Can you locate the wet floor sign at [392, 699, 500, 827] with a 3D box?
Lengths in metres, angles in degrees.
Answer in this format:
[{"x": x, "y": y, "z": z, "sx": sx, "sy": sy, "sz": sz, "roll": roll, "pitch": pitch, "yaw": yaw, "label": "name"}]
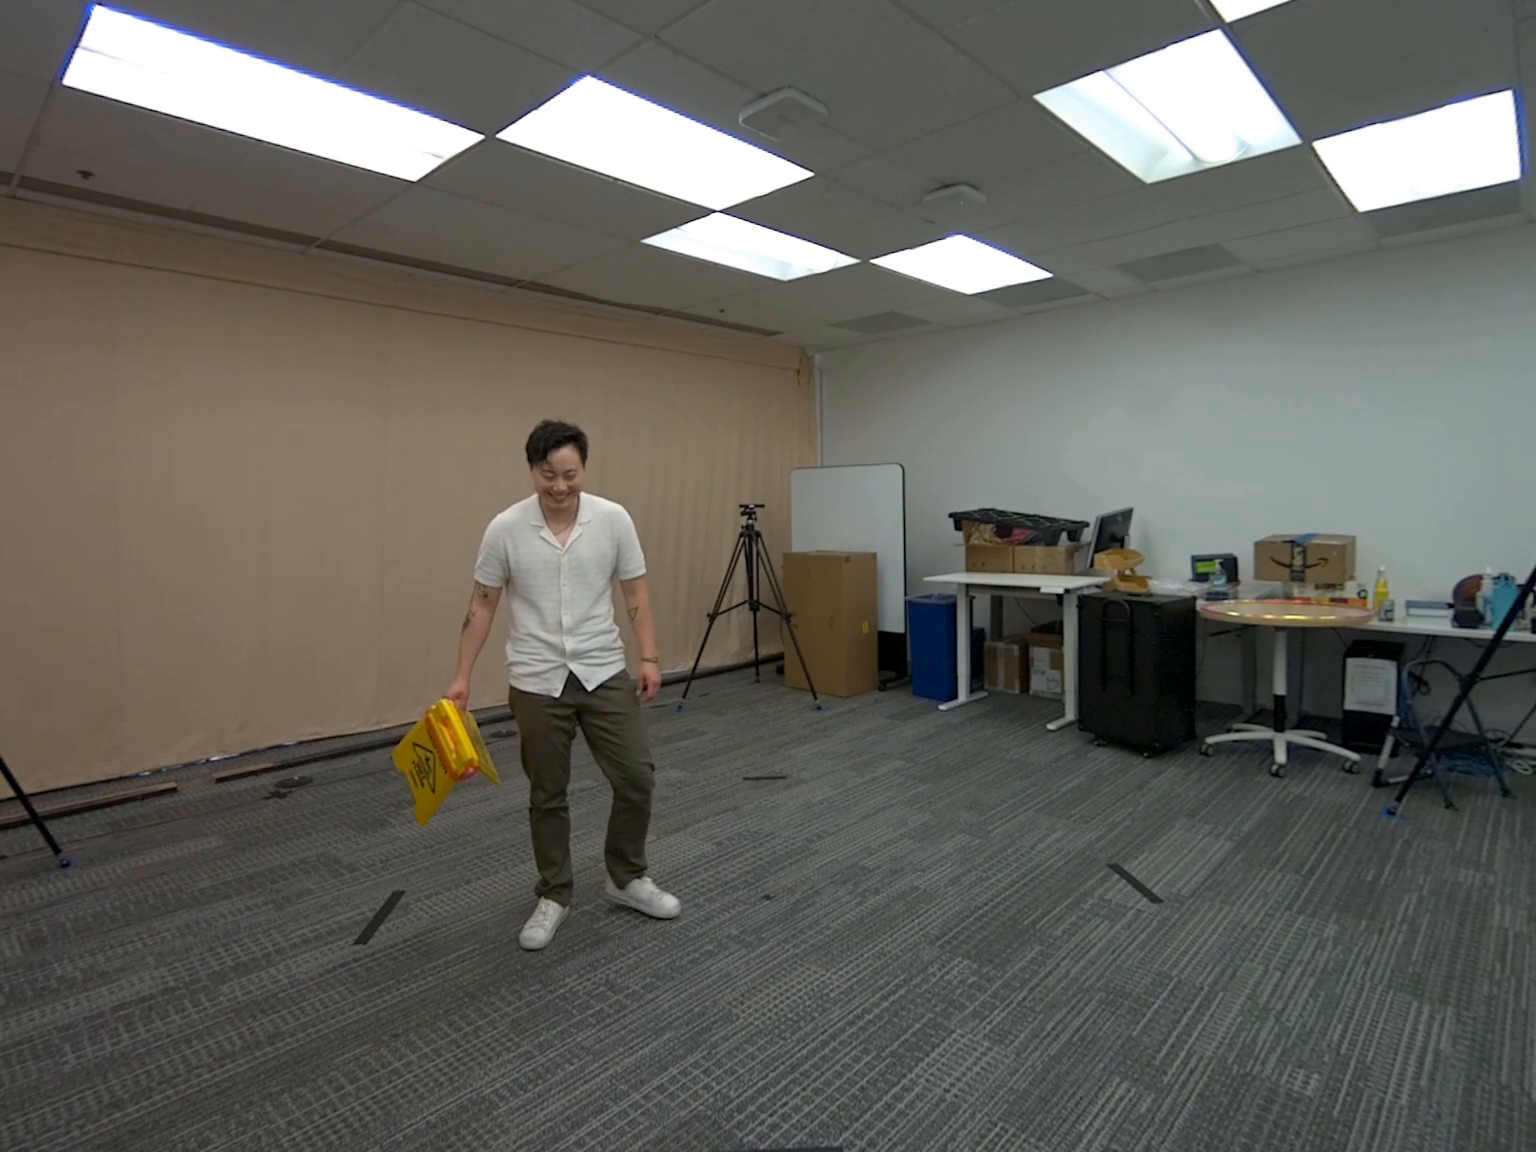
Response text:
[{"x": -1.011, "y": 0.560, "z": 2.707, "sx": 0.284, "sy": 0.286, "sz": 0.650, "roll": -23, "pitch": -12, "yaw": -30, "label": "wet floor sign"}]
